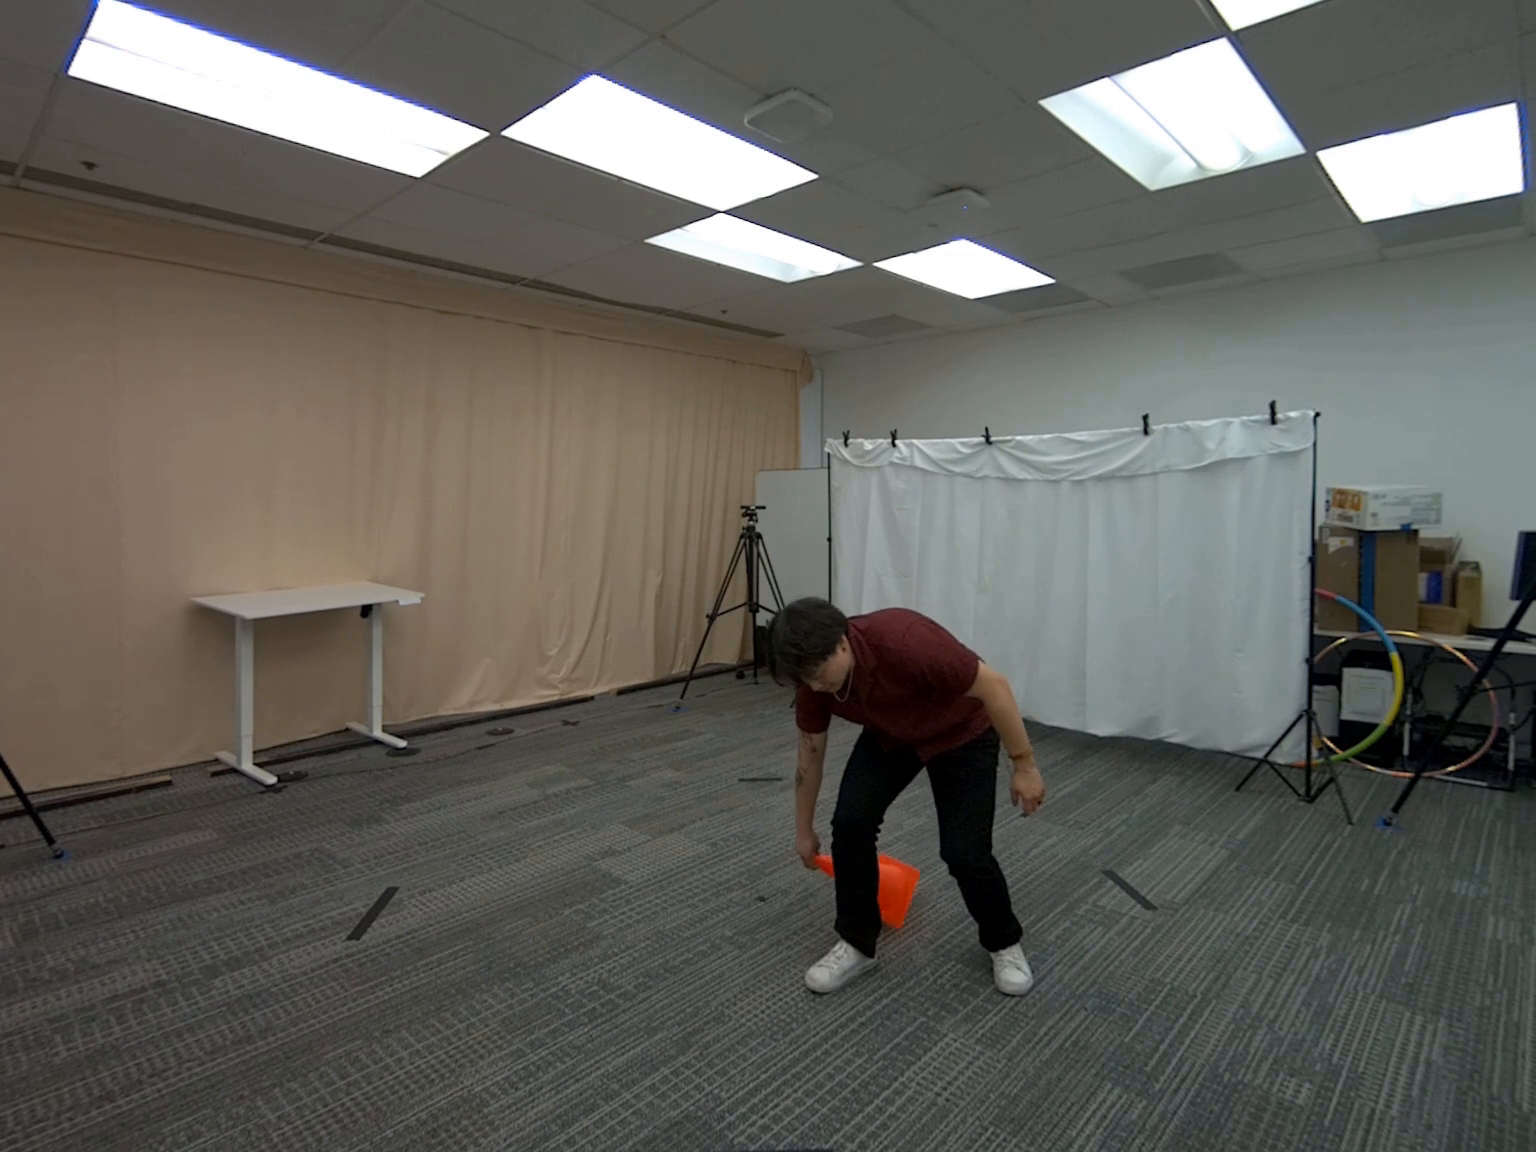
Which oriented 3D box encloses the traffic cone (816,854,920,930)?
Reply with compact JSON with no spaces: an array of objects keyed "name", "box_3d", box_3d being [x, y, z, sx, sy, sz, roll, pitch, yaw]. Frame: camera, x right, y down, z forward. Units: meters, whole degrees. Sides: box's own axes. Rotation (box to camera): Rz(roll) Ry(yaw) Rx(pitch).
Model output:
[{"name":"traffic cone","box_3d":[0.285,0.984,2.753,0.371,0.203,0.211,30,-10,-32]}]
